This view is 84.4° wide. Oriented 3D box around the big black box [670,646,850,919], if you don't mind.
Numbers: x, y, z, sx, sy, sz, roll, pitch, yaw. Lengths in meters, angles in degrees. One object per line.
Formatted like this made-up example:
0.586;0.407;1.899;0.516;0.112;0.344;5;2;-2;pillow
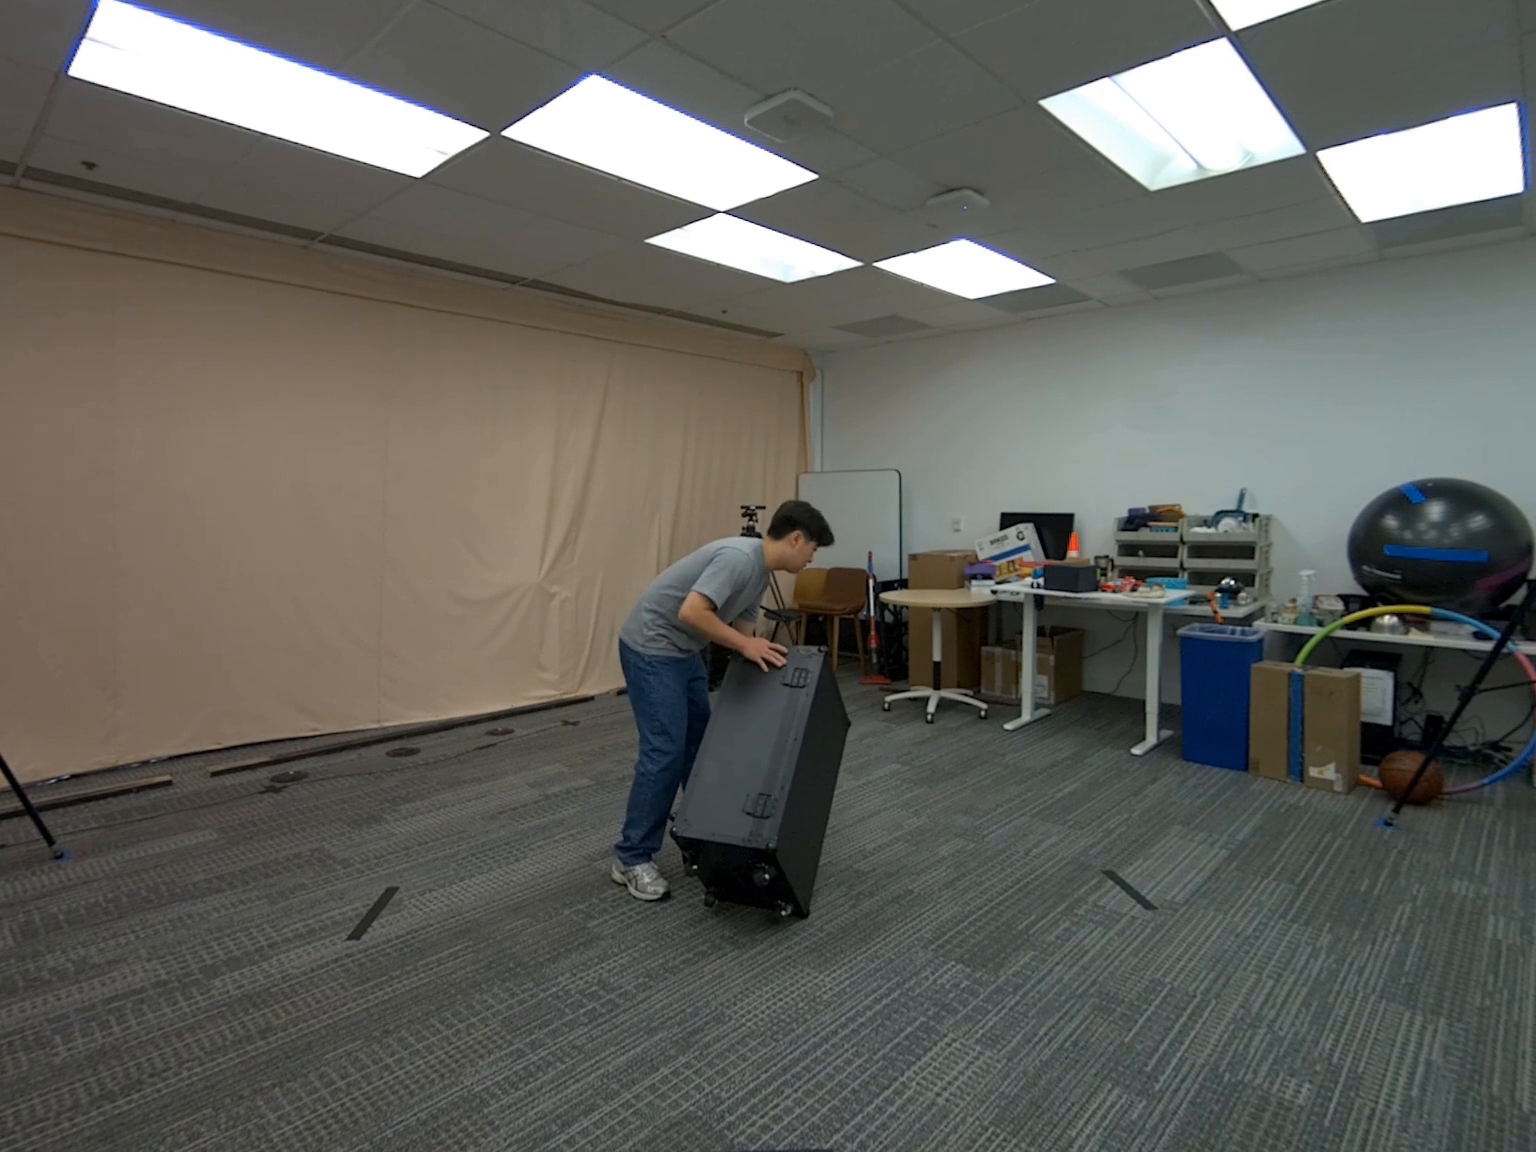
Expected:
-0.003;0.726;2.979;0.405;0.506;0.866;0;46;22;big black box
